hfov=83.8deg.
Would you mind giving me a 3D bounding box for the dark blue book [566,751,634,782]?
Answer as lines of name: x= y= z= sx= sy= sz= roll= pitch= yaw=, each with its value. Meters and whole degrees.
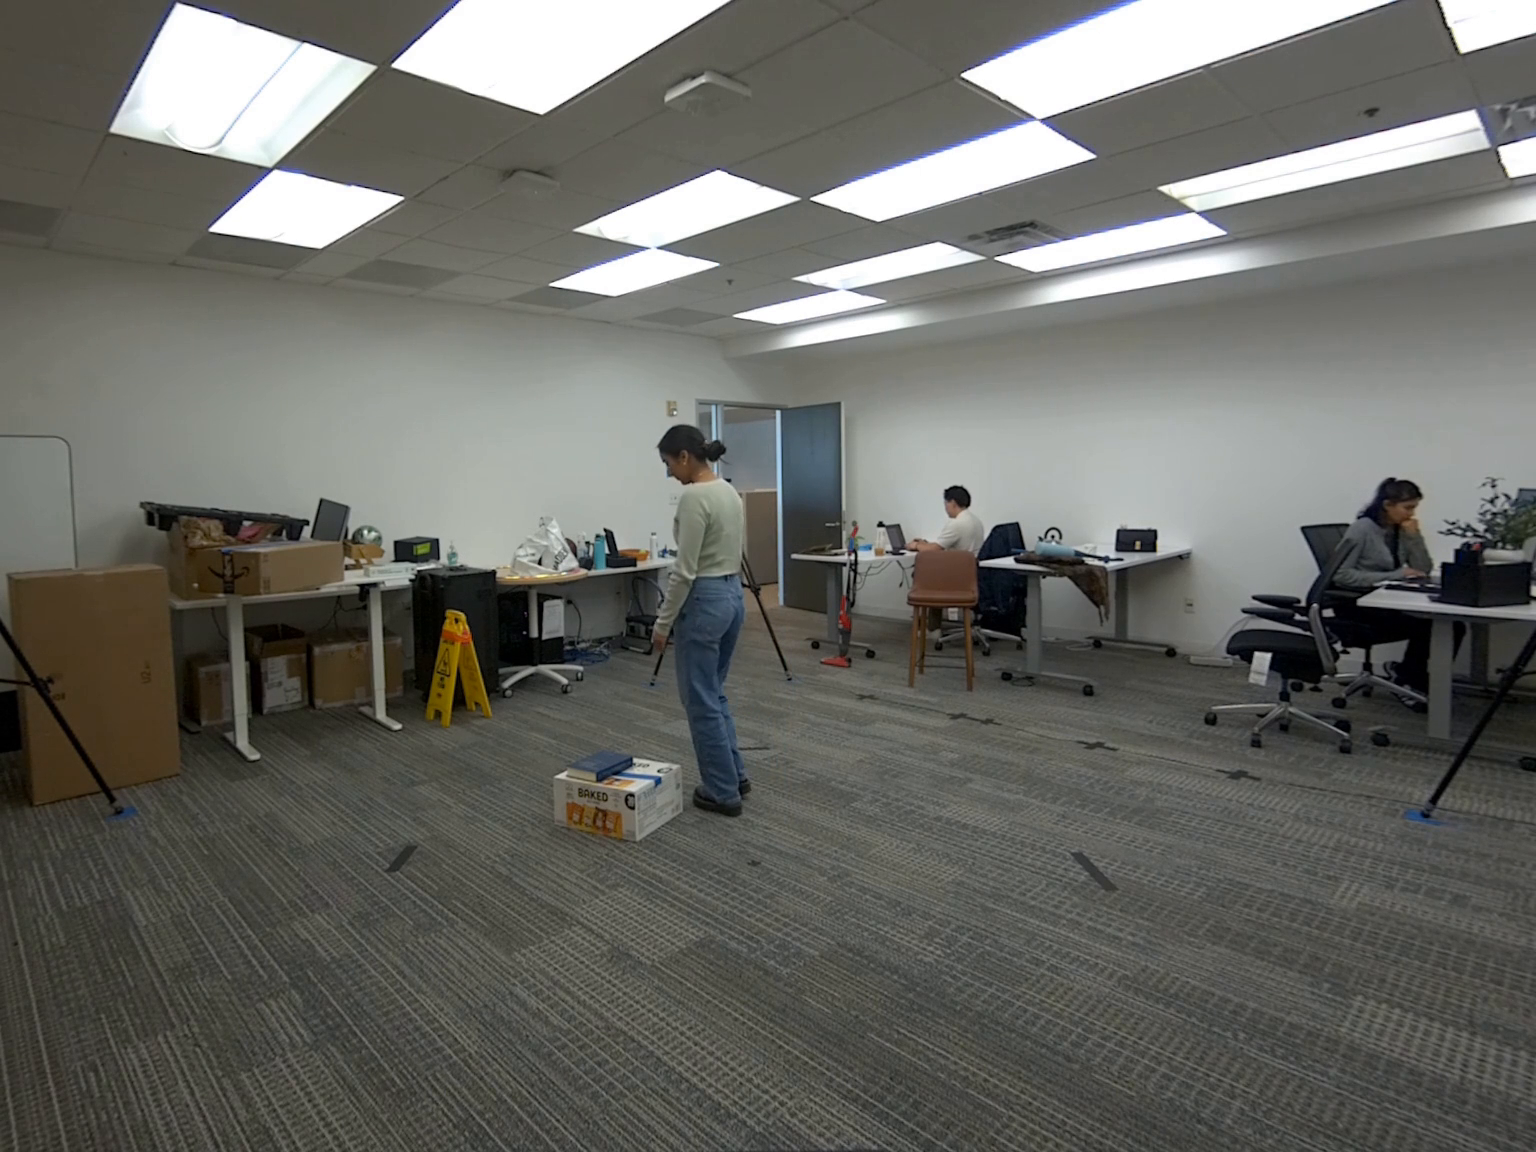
dark blue book: x=-0.692 y=0.786 z=3.546 sx=0.168 sy=0.045 sz=0.240 roll=3 pitch=7 yaw=29
